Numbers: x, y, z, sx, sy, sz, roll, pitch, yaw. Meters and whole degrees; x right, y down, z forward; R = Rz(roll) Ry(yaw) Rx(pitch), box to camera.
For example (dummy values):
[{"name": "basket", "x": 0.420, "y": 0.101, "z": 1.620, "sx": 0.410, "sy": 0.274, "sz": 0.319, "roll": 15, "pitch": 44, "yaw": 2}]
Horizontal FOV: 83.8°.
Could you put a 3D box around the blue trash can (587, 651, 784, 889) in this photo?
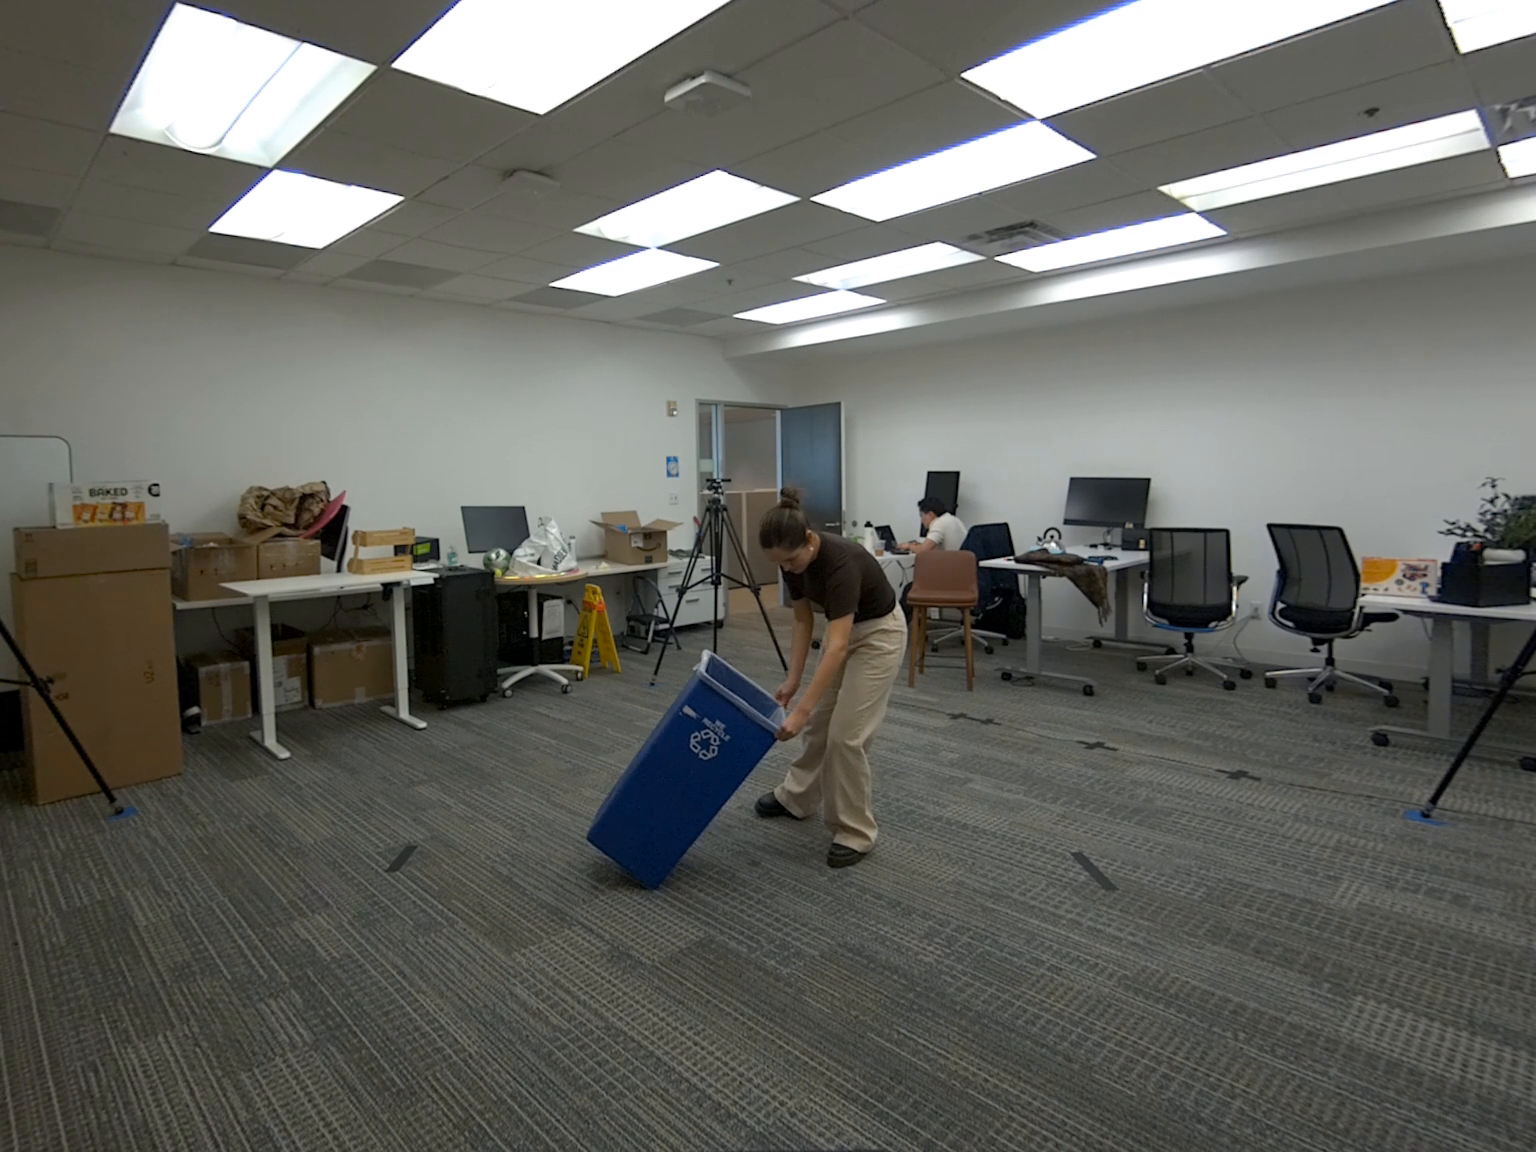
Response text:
[{"name": "blue trash can", "x": -0.286, "y": 0.690, "z": 3.026, "sx": 0.373, "sy": 0.713, "sz": 0.379, "roll": 36, "pitch": 5, "yaw": -2}]
